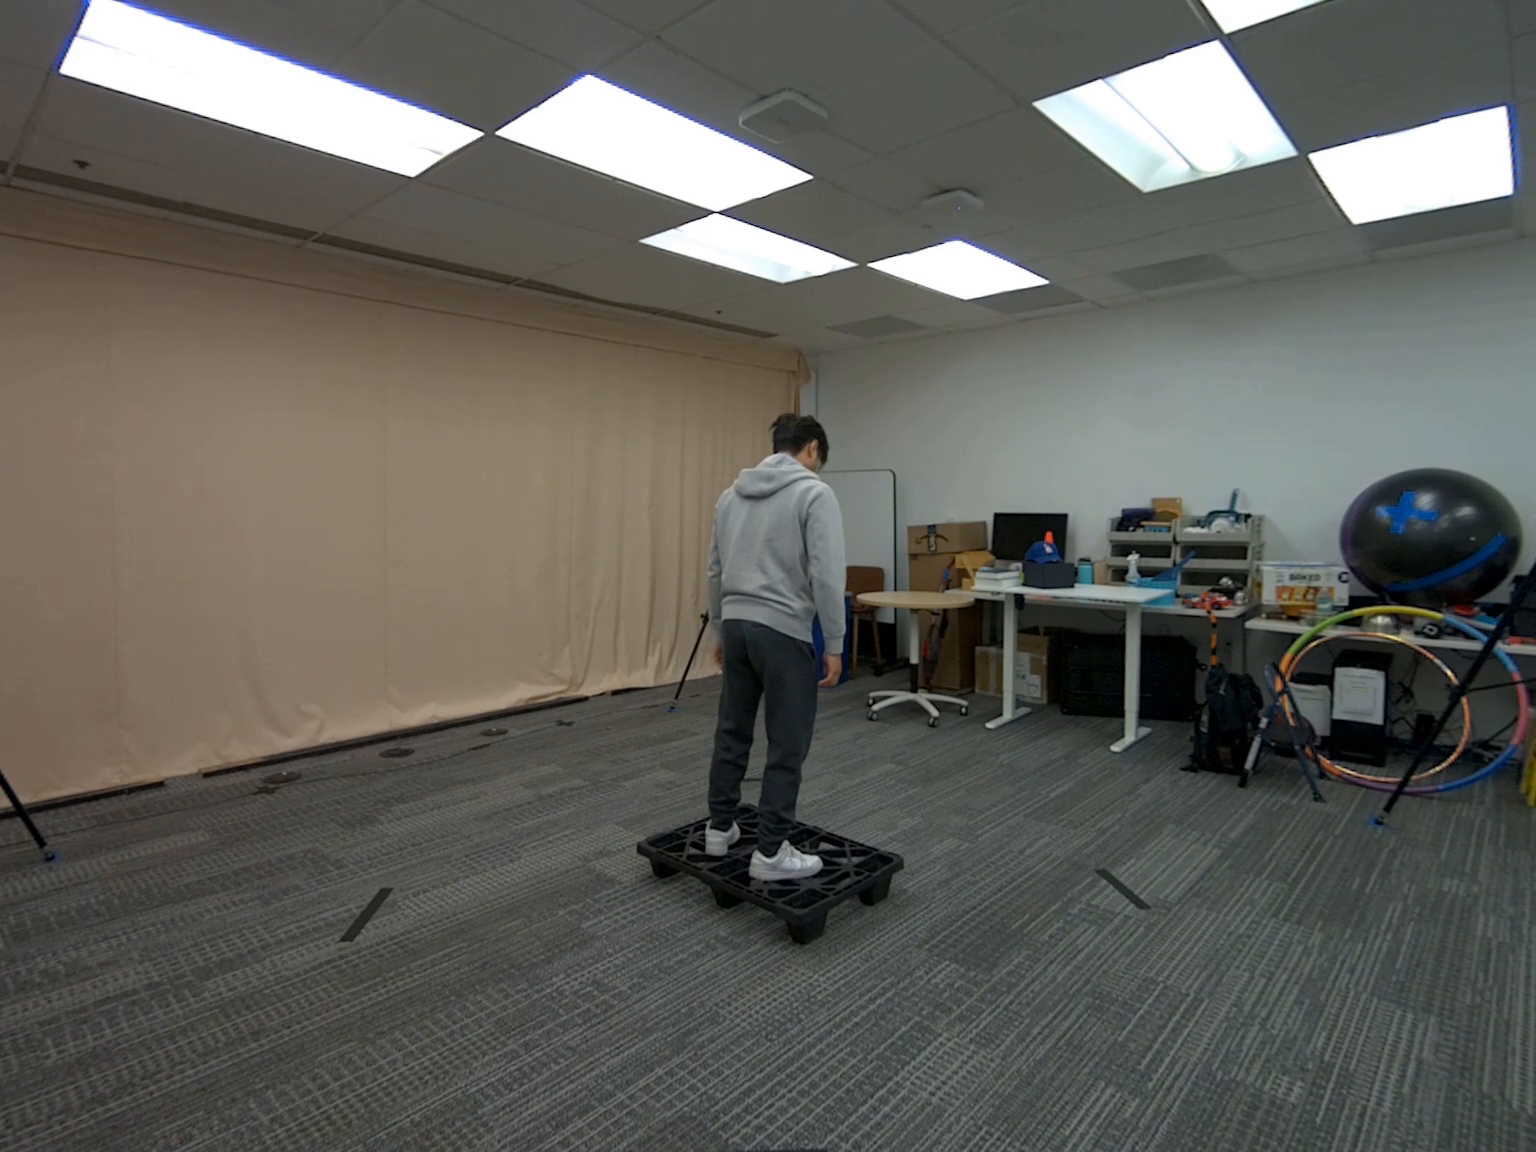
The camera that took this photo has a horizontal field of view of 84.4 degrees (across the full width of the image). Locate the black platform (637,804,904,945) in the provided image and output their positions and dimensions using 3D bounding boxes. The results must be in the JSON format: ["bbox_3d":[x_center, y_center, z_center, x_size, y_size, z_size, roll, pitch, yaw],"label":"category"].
[{"bbox_3d":[-0.002,1.067,3.078,0.832,0.143,0.587,4,7,44],"label":"black platform"}]
